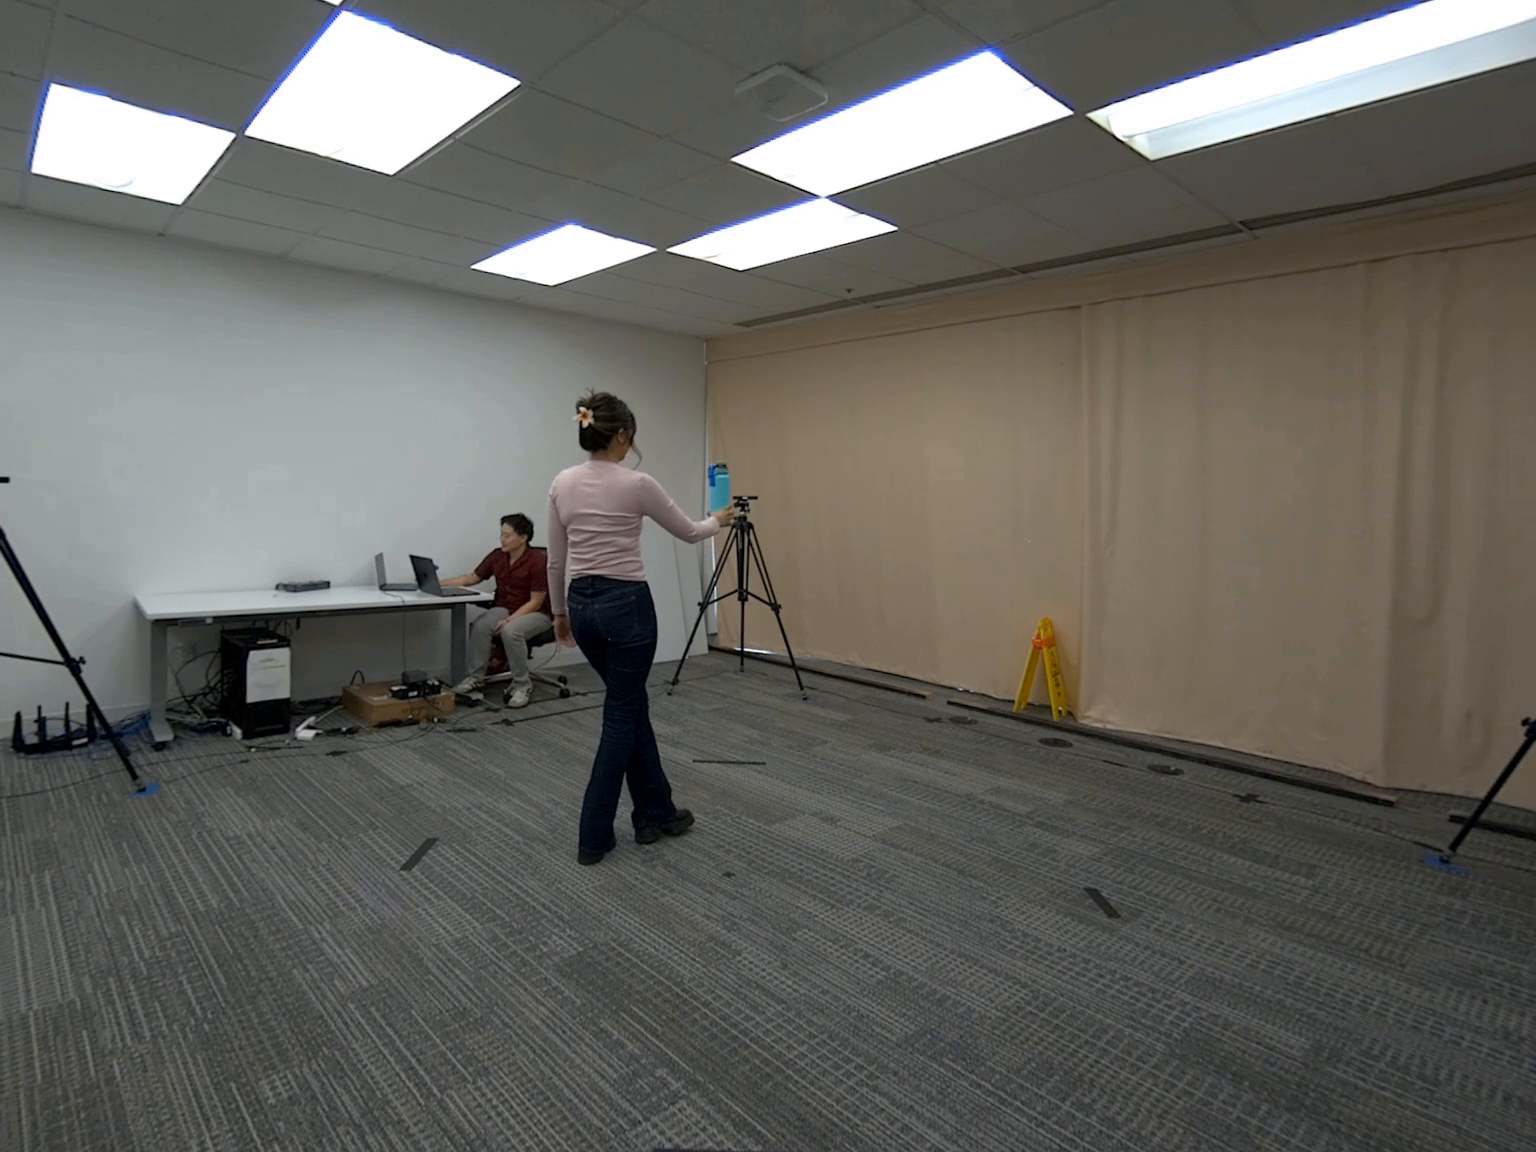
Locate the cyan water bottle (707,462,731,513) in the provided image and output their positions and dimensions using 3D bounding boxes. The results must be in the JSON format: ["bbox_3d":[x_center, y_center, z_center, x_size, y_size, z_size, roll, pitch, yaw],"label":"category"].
[{"bbox_3d":[-0.221,-0.358,3.644,0.092,0.282,0.093,0,7,-1],"label":"cyan water bottle"}]
